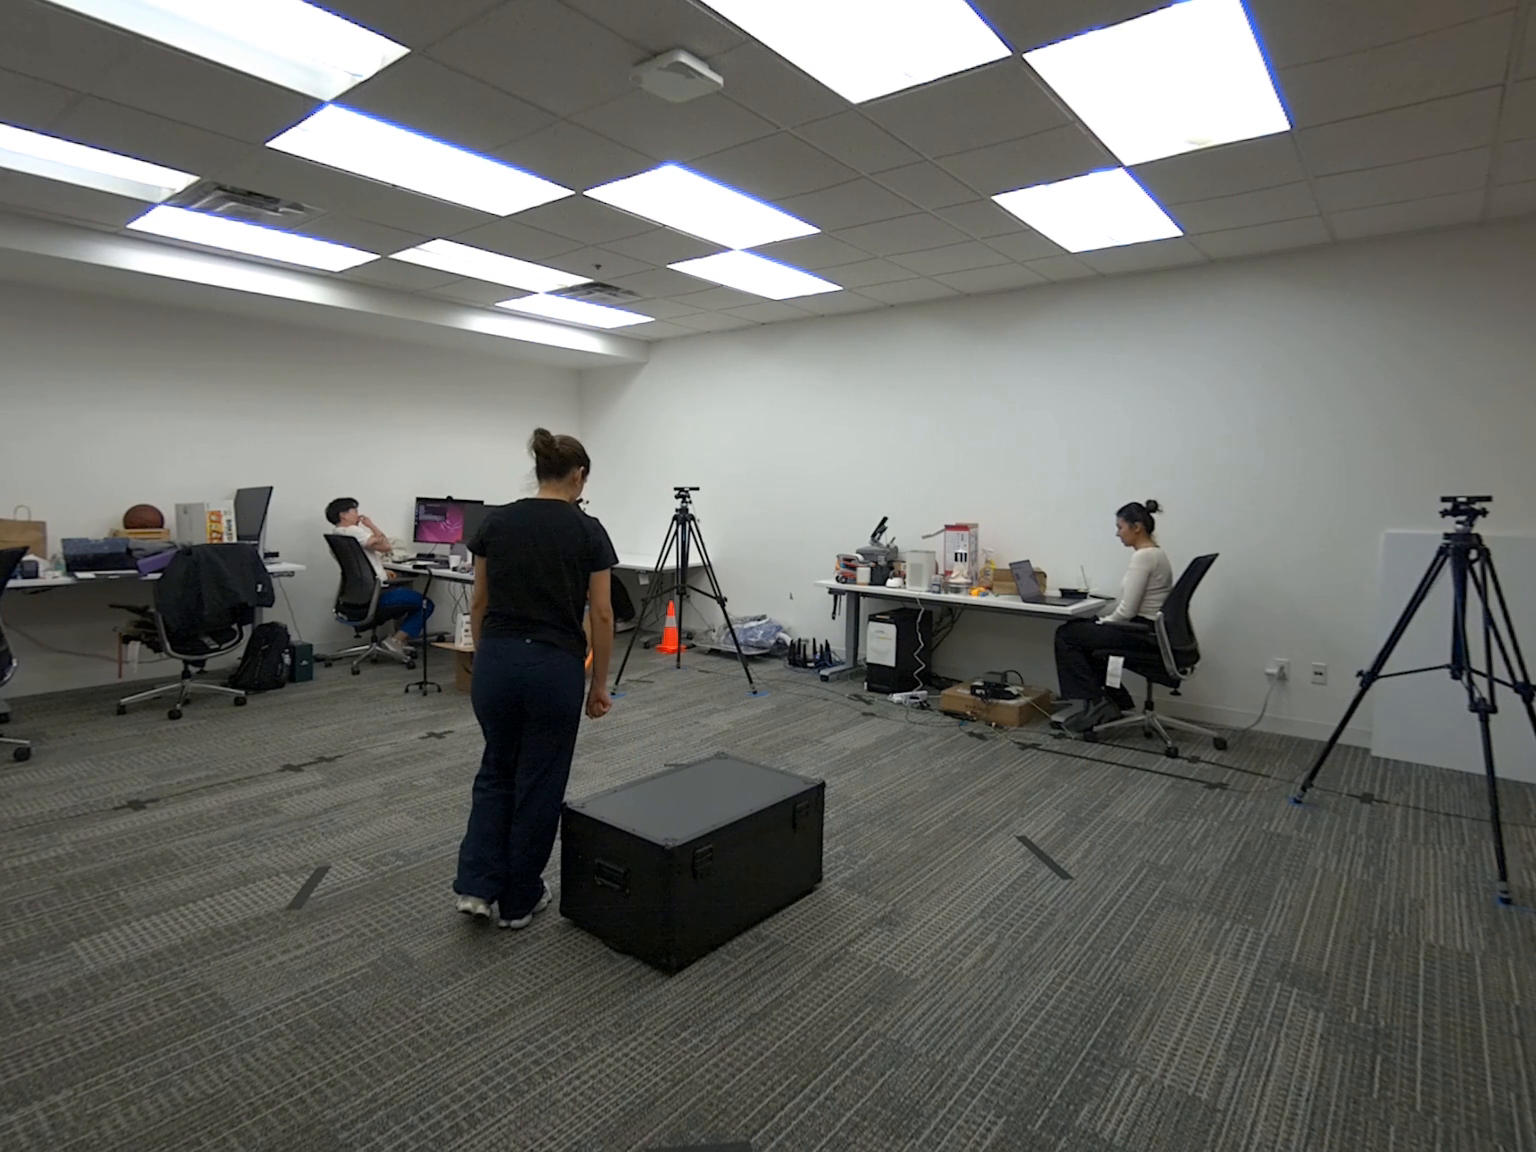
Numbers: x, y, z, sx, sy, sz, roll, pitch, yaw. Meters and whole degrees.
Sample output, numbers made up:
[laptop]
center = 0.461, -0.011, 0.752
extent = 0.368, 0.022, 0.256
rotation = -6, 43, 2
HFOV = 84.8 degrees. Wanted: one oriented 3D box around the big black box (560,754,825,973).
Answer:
[big black box]
center = -0.199, 0.900, 2.864
extent = 0.539, 0.394, 0.837
rotation = 5, 7, 39
